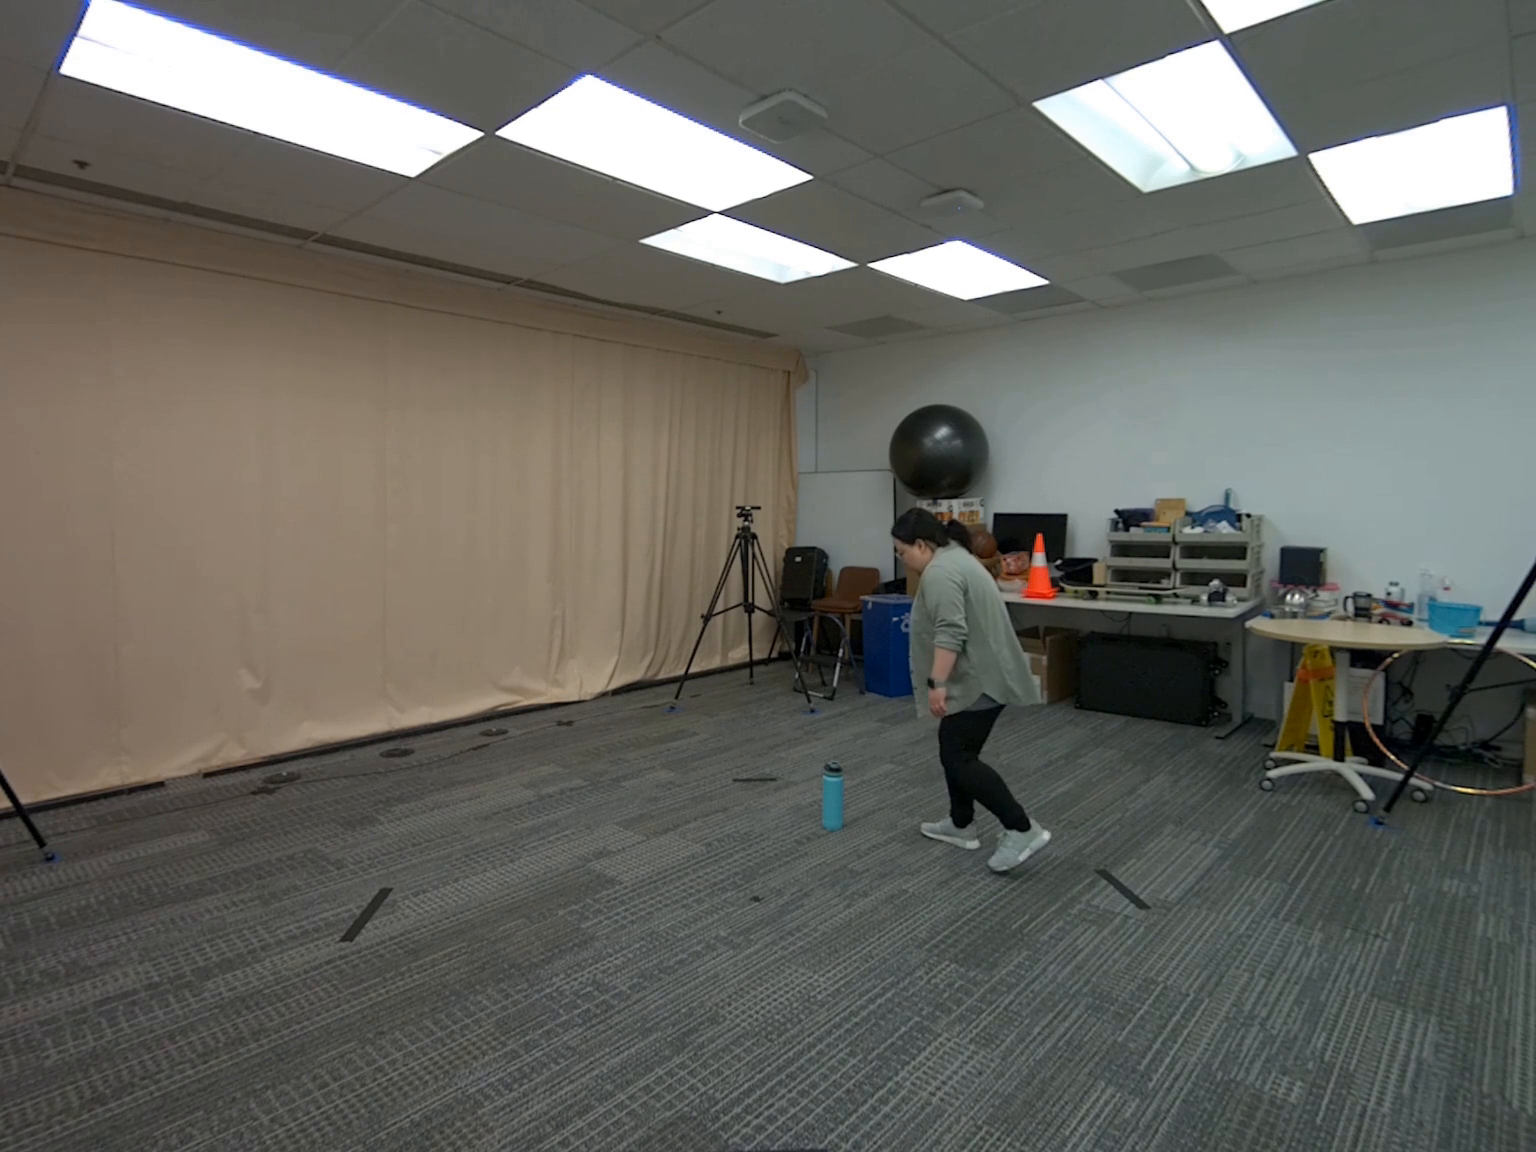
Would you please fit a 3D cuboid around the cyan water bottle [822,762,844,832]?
[{"bbox_3d":[0.291,0.952,3.661,0.092,0.283,0.092,3,0,-2],"label":"cyan water bottle"}]
